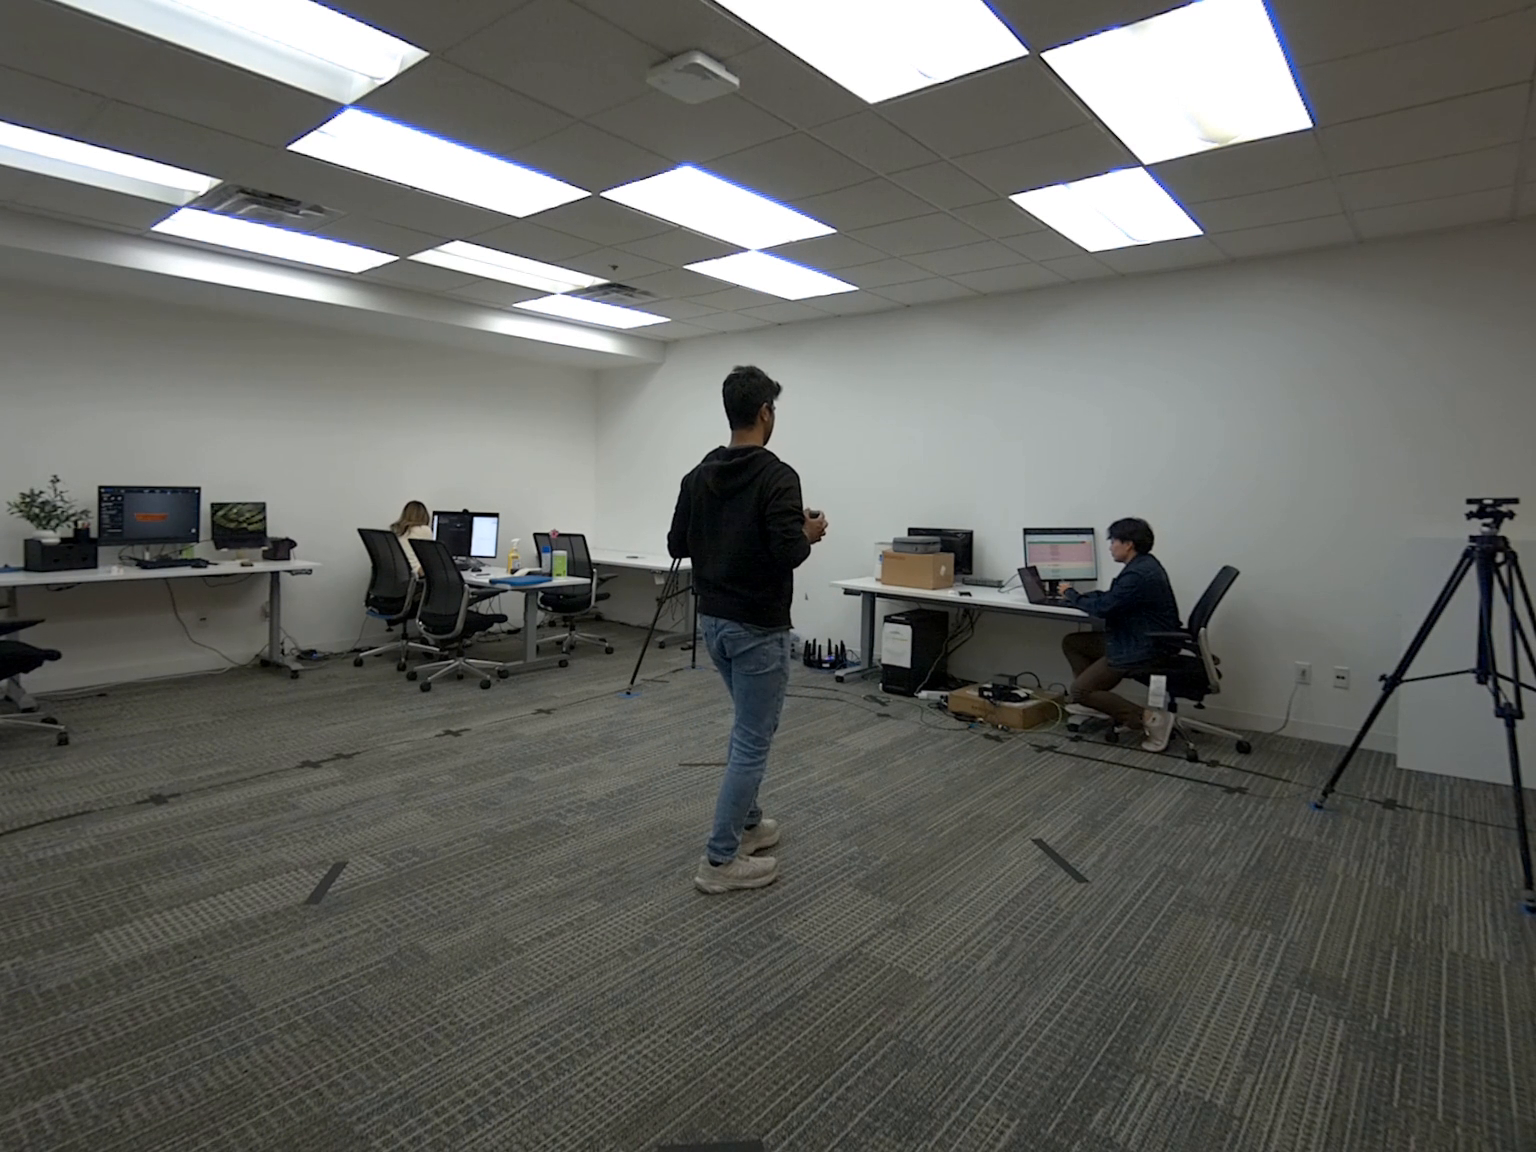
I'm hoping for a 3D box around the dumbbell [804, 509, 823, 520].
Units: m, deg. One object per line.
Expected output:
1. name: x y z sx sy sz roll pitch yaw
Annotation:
1. dumbbell: 0.050 -0.195 3.216 0.303 0.124 0.104 5 -28 43
